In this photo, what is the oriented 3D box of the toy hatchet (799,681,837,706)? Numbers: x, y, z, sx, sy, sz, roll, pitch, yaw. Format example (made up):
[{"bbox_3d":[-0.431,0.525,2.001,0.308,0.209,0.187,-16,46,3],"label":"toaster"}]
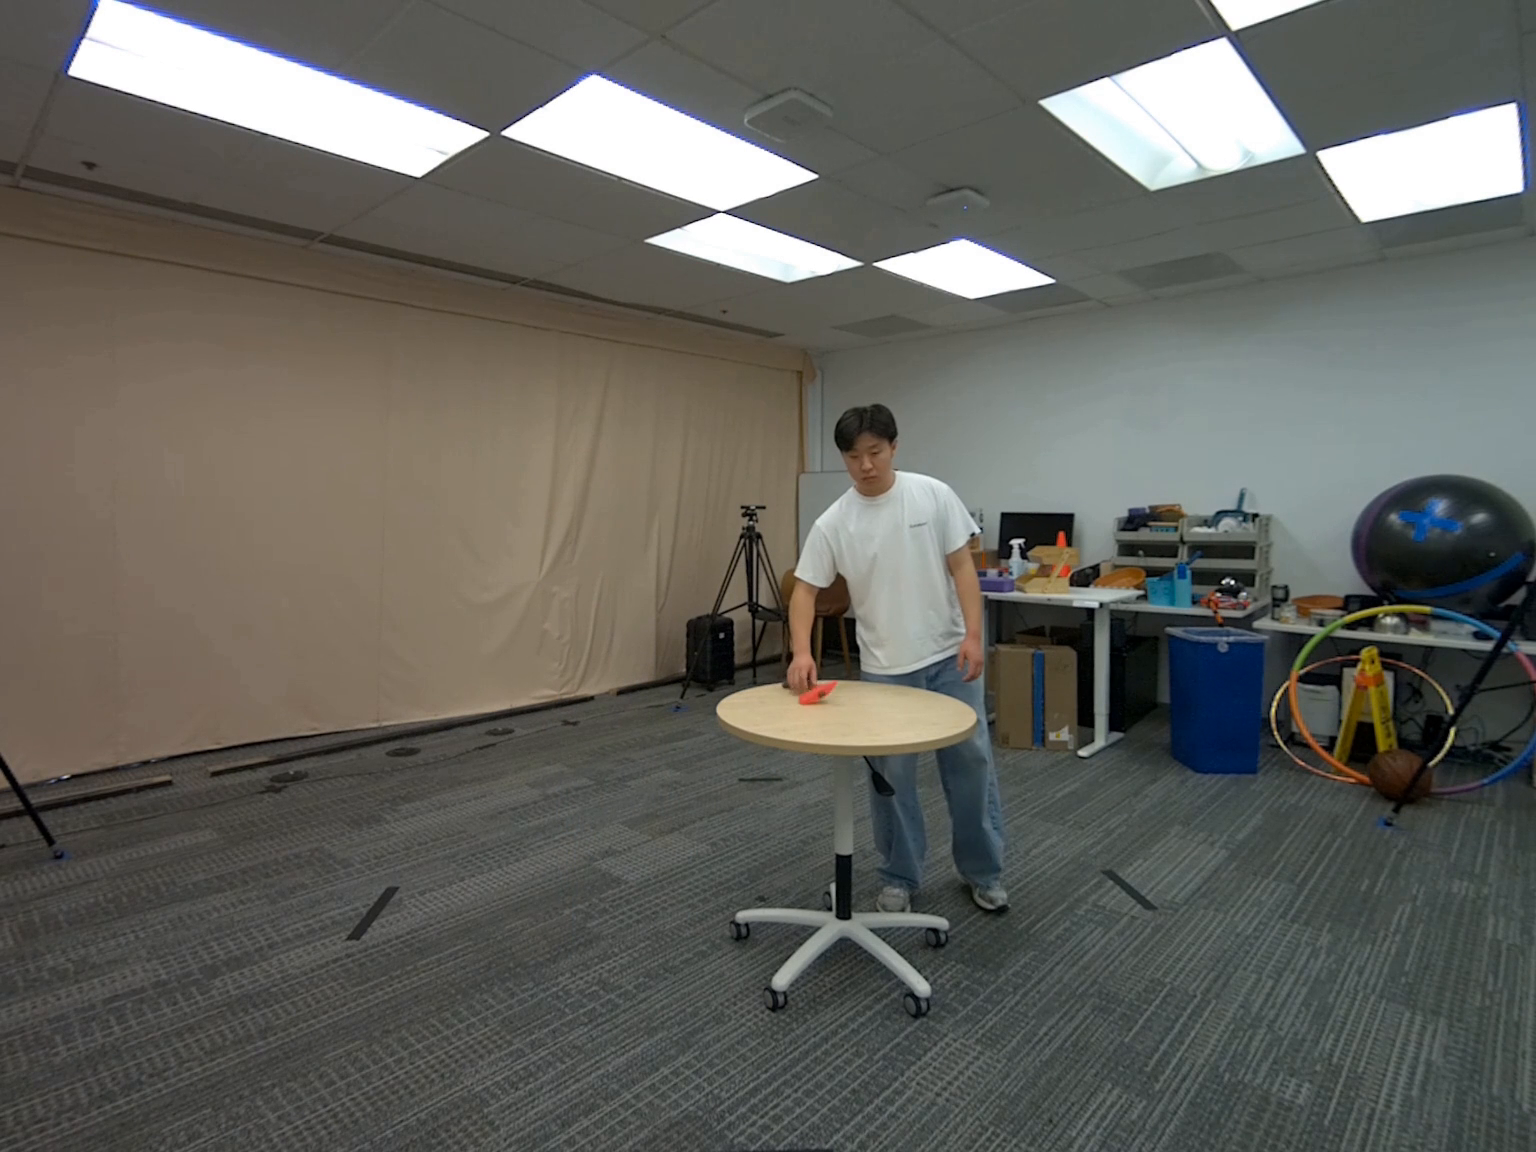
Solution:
[{"bbox_3d":[0.097,0.353,2.679,0.128,0.029,0.277,-25,11,-31],"label":"toy hatchet"}]
